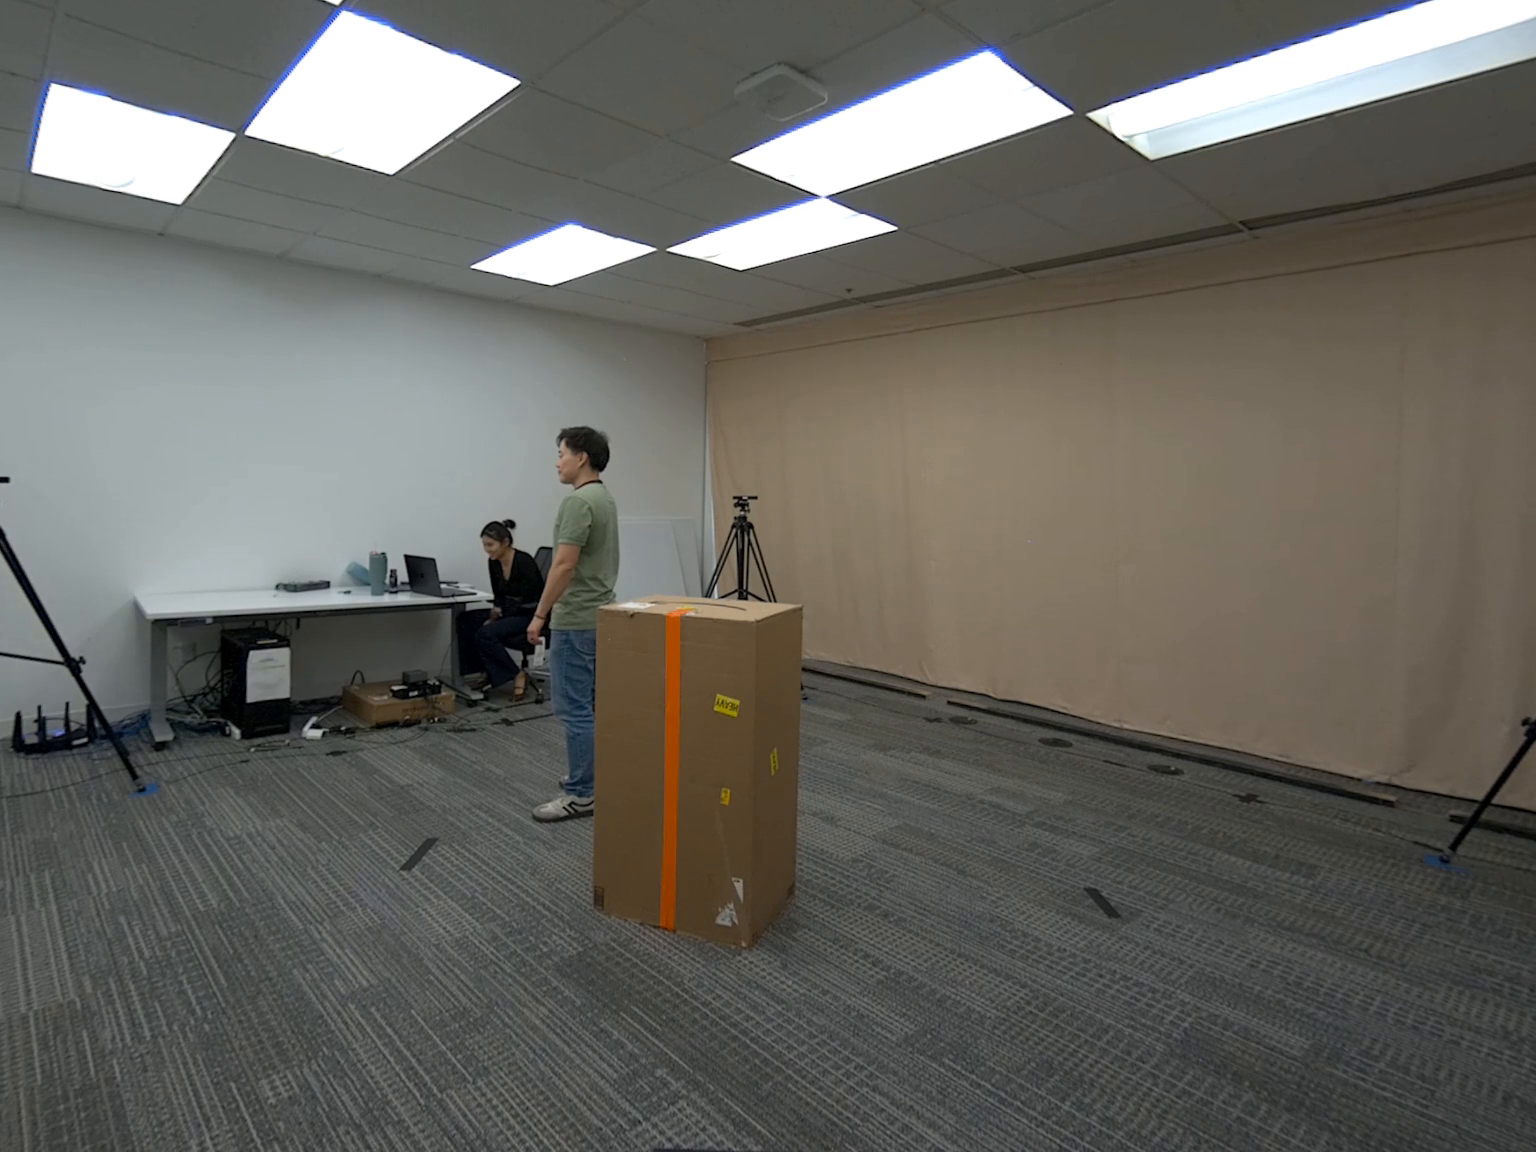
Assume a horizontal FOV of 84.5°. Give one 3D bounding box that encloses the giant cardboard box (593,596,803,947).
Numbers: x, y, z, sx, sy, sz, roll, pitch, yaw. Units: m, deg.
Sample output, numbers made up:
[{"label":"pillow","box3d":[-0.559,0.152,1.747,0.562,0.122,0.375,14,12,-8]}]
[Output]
[{"label":"giant cardboard box","box3d":[-0.236,0.612,2.855,0.588,1.023,0.419,3,4,25]}]
